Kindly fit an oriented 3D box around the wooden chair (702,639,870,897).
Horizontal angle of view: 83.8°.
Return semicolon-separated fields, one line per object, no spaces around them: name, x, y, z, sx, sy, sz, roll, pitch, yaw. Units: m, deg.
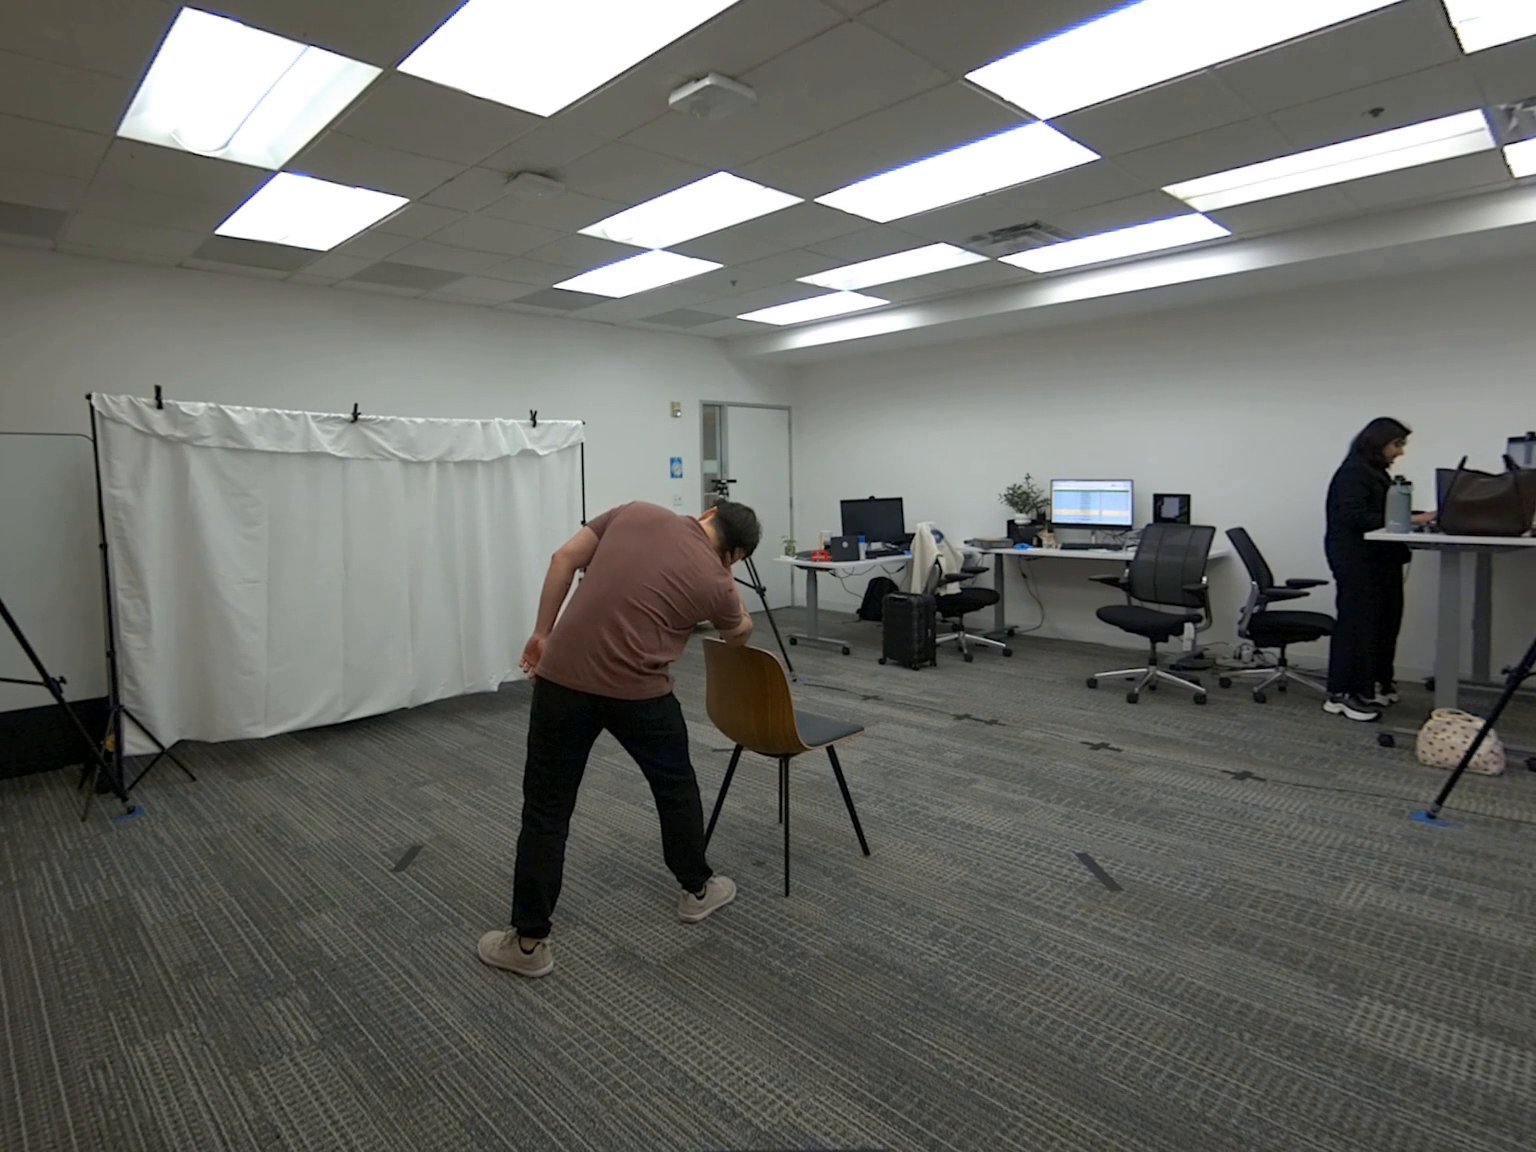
wooden chair;0.059;0.613;3.146;0.511;0.871;0.493;-11;10;-44
